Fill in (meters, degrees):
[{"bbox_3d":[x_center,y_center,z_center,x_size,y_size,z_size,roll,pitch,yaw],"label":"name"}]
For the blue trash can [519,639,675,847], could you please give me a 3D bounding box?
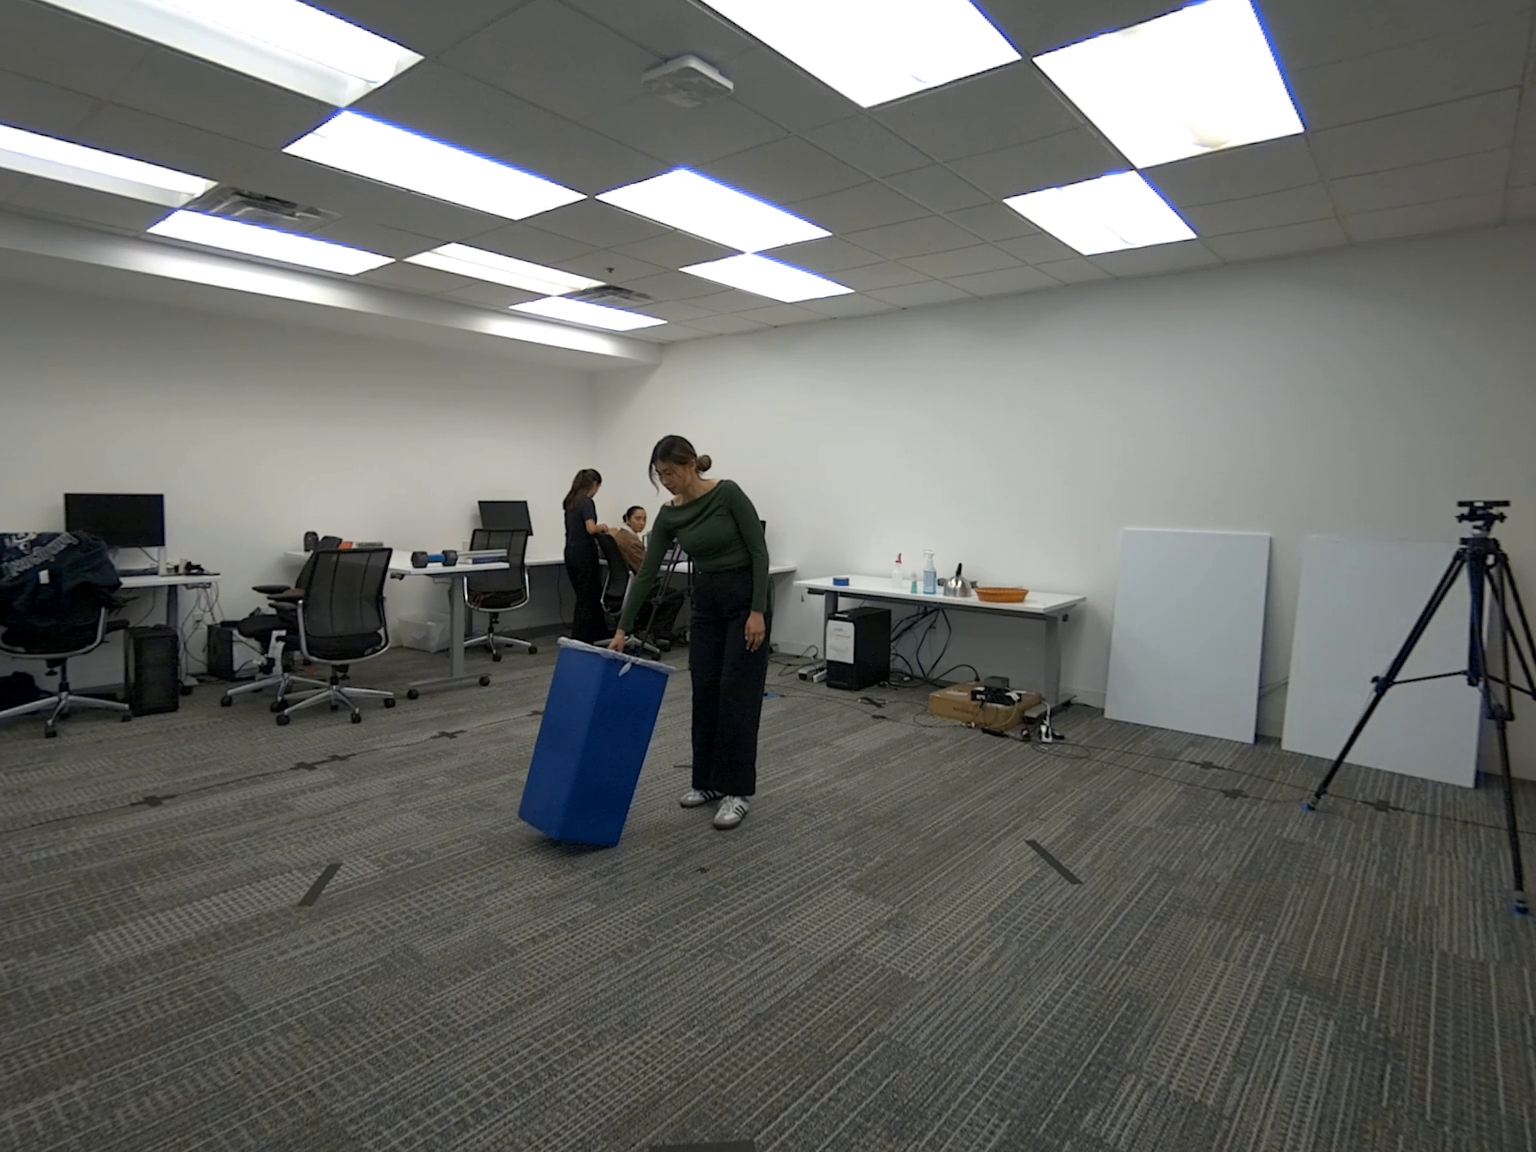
[{"bbox_3d":[-0.712,0.652,3.378,0.391,0.718,0.359,4,-15,46],"label":"blue trash can"}]
